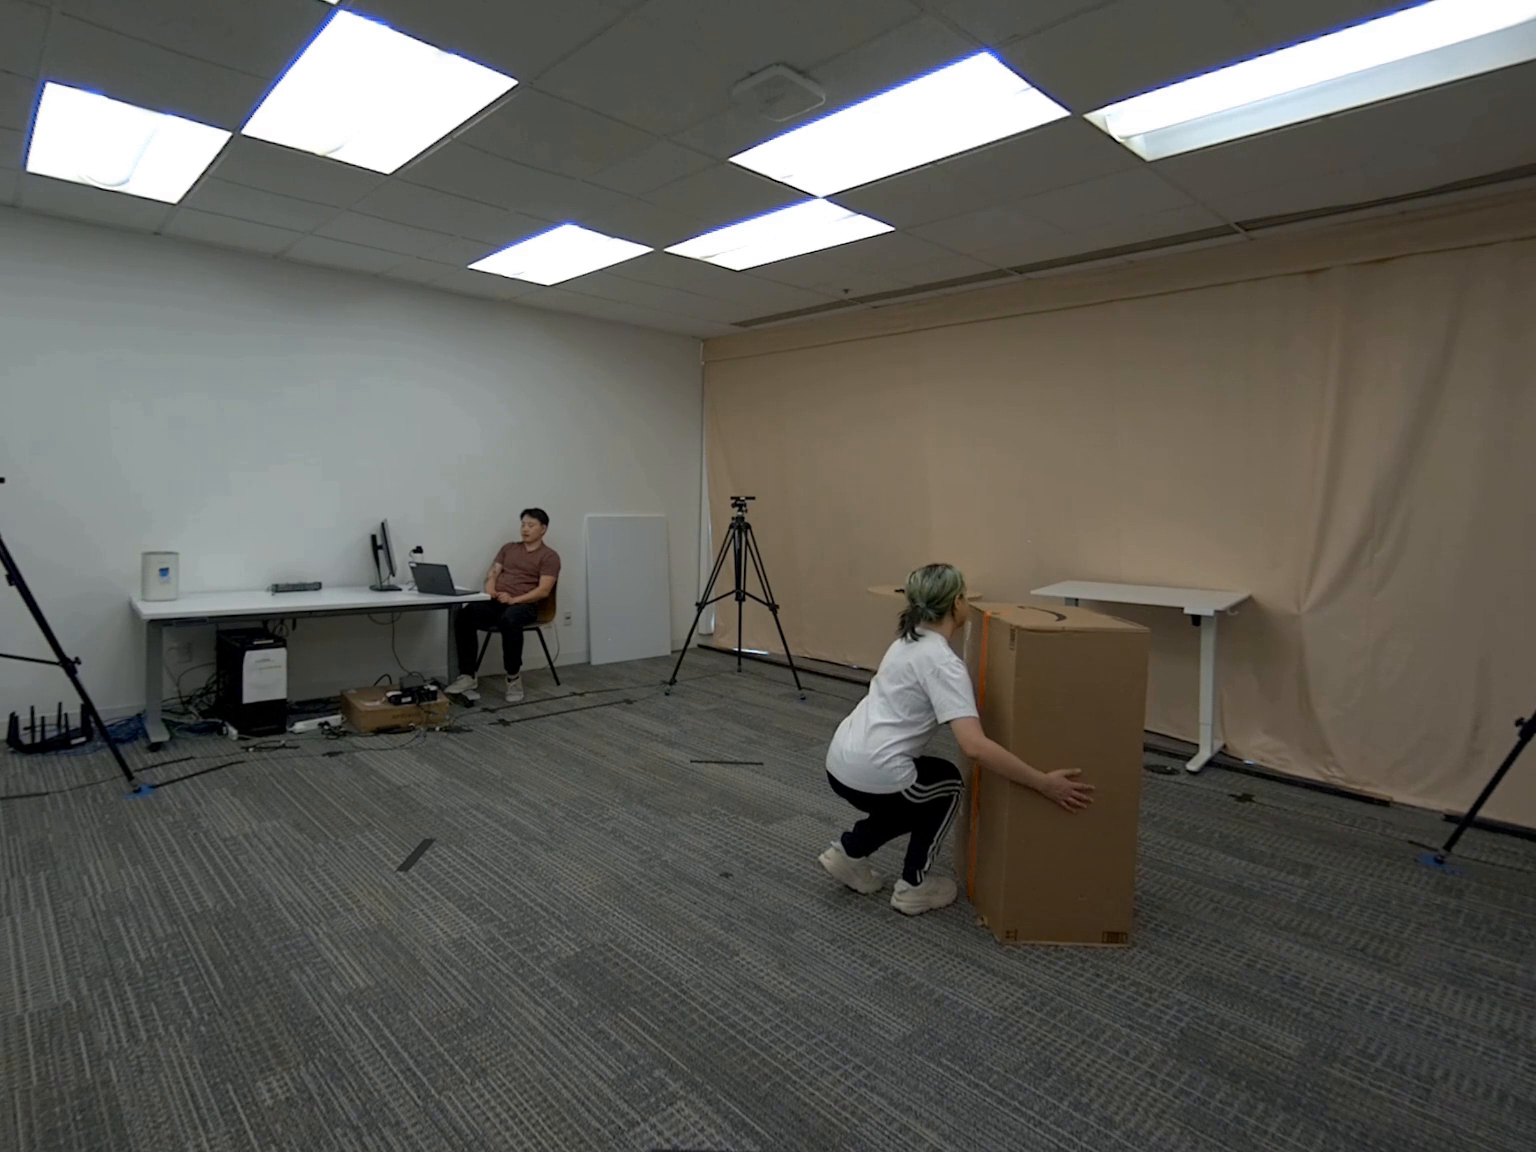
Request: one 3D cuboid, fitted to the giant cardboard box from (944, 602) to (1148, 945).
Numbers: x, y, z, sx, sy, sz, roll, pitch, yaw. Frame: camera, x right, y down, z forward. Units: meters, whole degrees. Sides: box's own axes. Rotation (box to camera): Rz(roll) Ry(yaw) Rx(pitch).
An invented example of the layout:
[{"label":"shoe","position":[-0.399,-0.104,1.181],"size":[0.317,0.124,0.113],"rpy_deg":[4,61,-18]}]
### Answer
[{"label":"giant cardboard box","position":[0.944,0.639,2.921],"size":[0.446,1.024,0.586],"rpy_deg":[3,4,-2]}]
